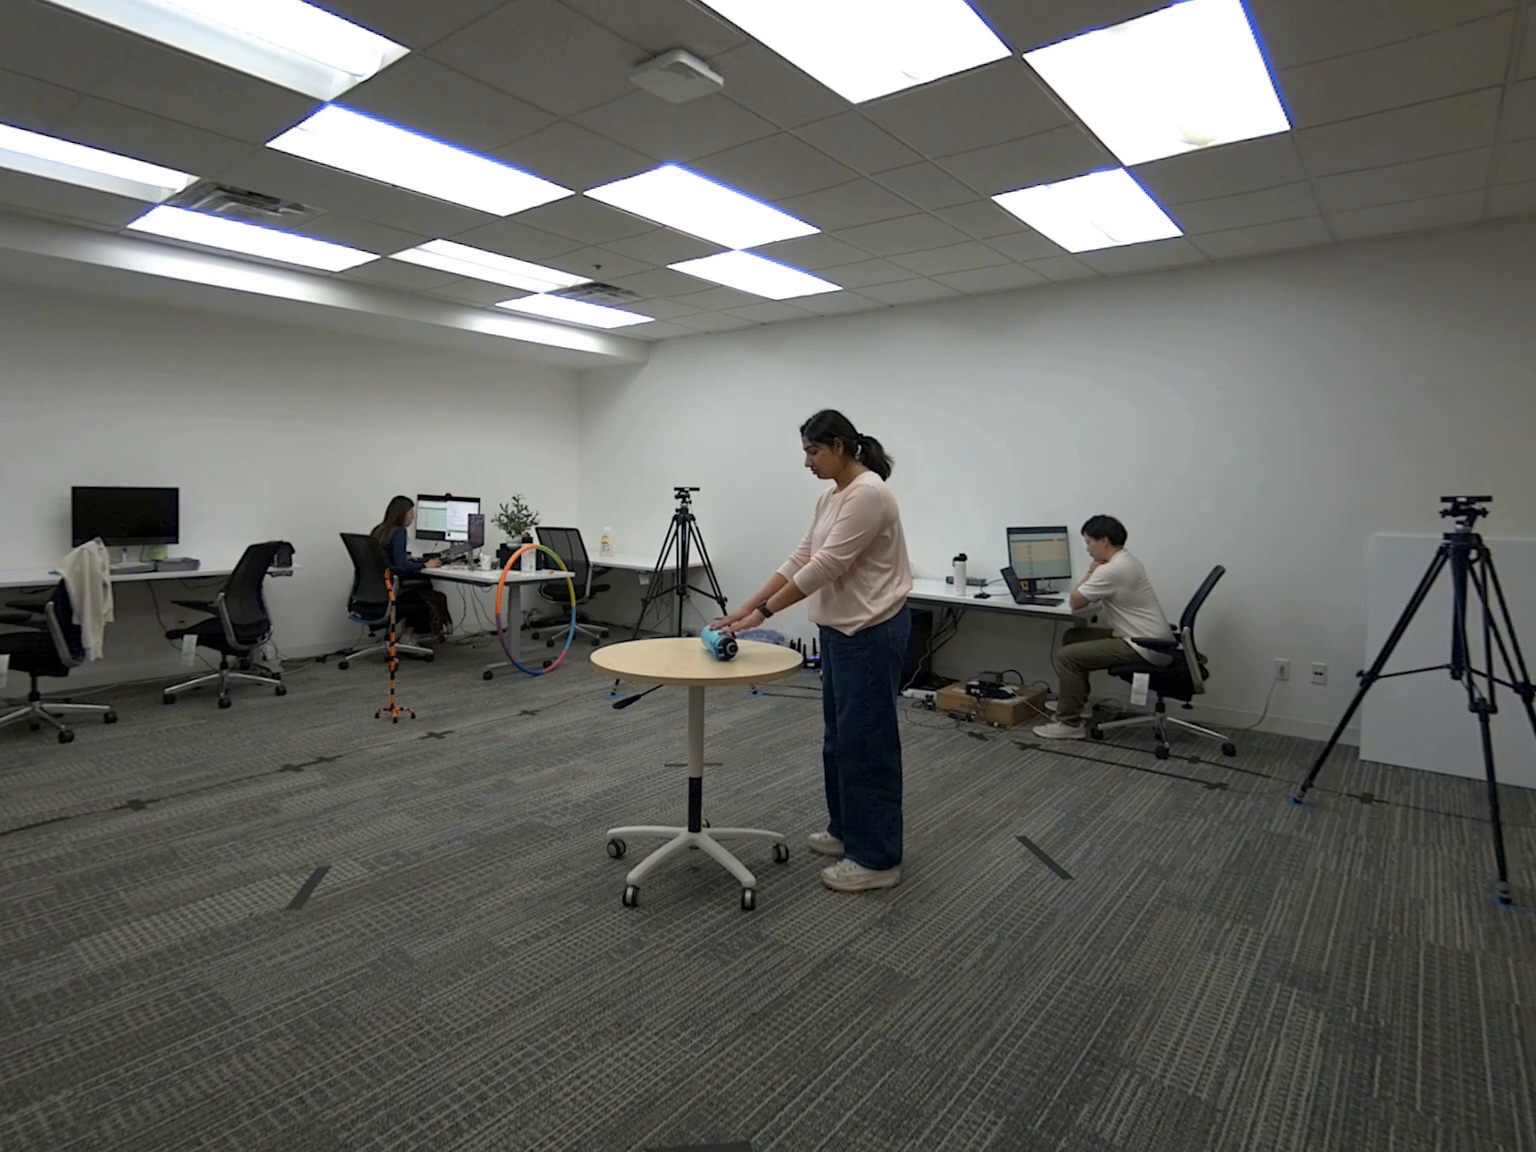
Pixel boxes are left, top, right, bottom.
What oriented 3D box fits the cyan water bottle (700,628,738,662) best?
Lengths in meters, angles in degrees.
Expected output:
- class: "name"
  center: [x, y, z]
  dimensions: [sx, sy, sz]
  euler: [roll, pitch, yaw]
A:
- class: "cyan water bottle"
  center: [-0.184, 0.241, 3.088]
  dimensions: [0.091, 0.092, 0.289]
  euler: [0, 6, -14]
